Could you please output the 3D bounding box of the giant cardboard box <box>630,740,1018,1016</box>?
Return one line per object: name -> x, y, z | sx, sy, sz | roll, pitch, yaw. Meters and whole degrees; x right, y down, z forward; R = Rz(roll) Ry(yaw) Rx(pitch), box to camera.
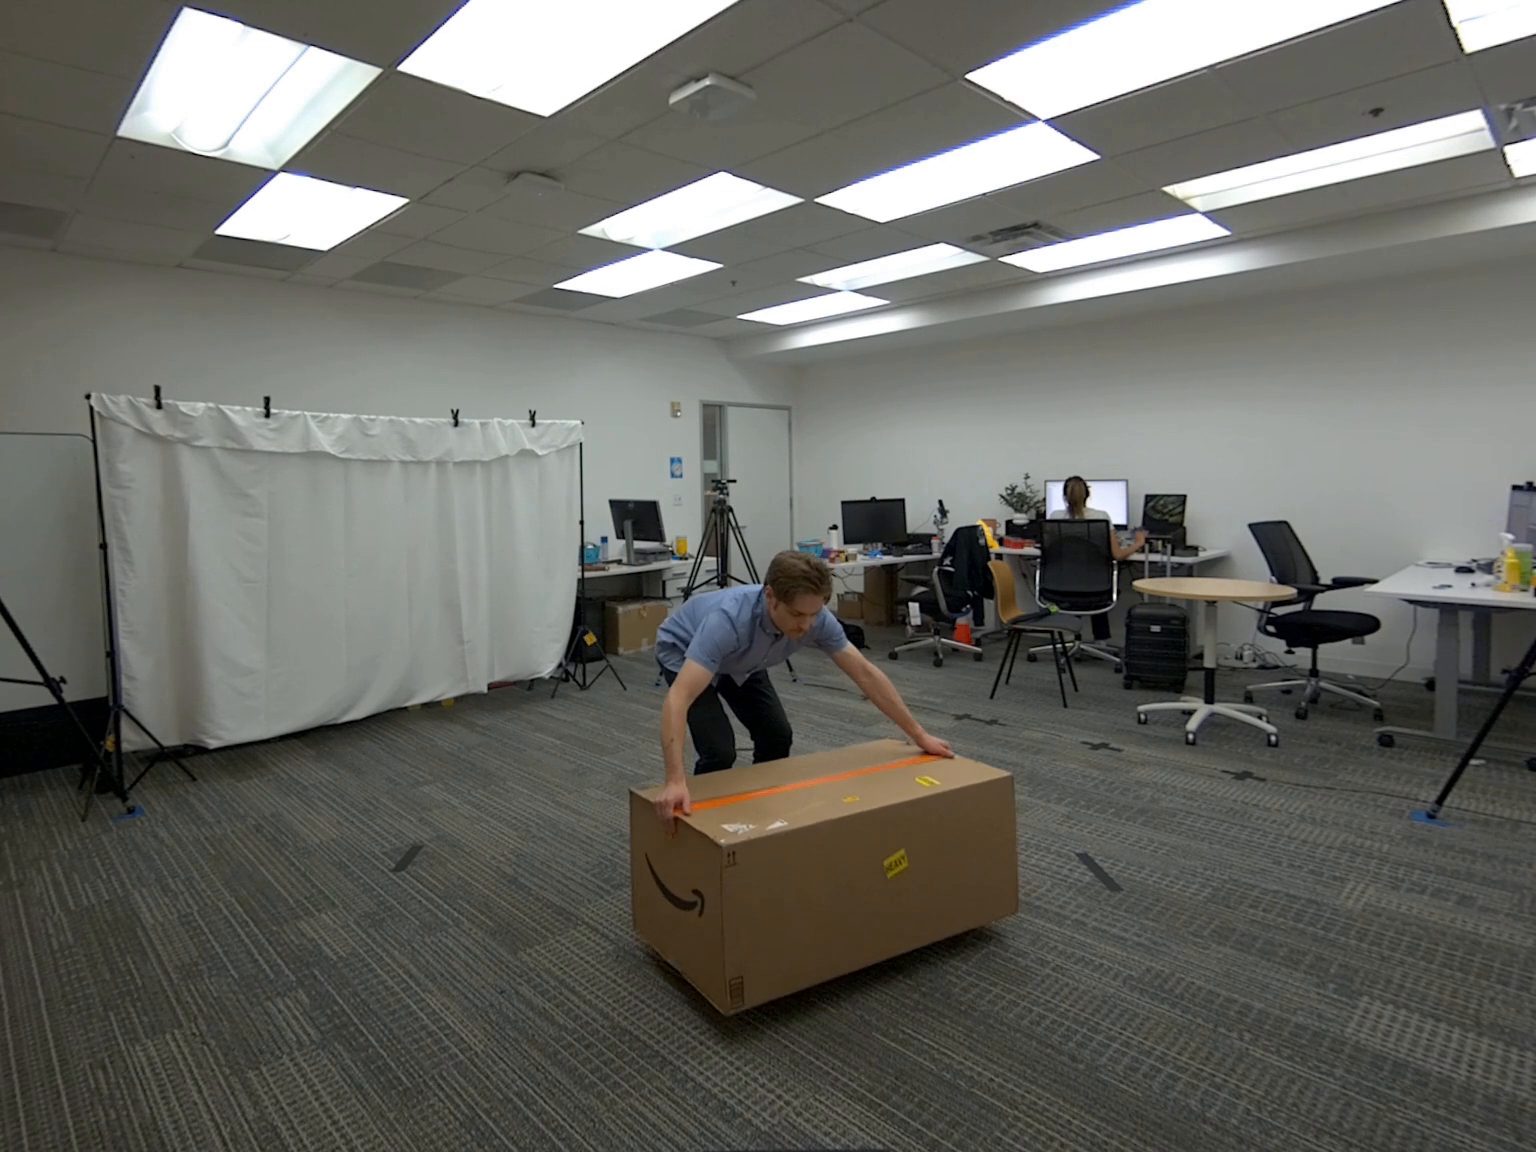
giant cardboard box -> 0.169, 0.827, 2.573 | 1.003, 0.447, 0.598 | -4, 1, -30
